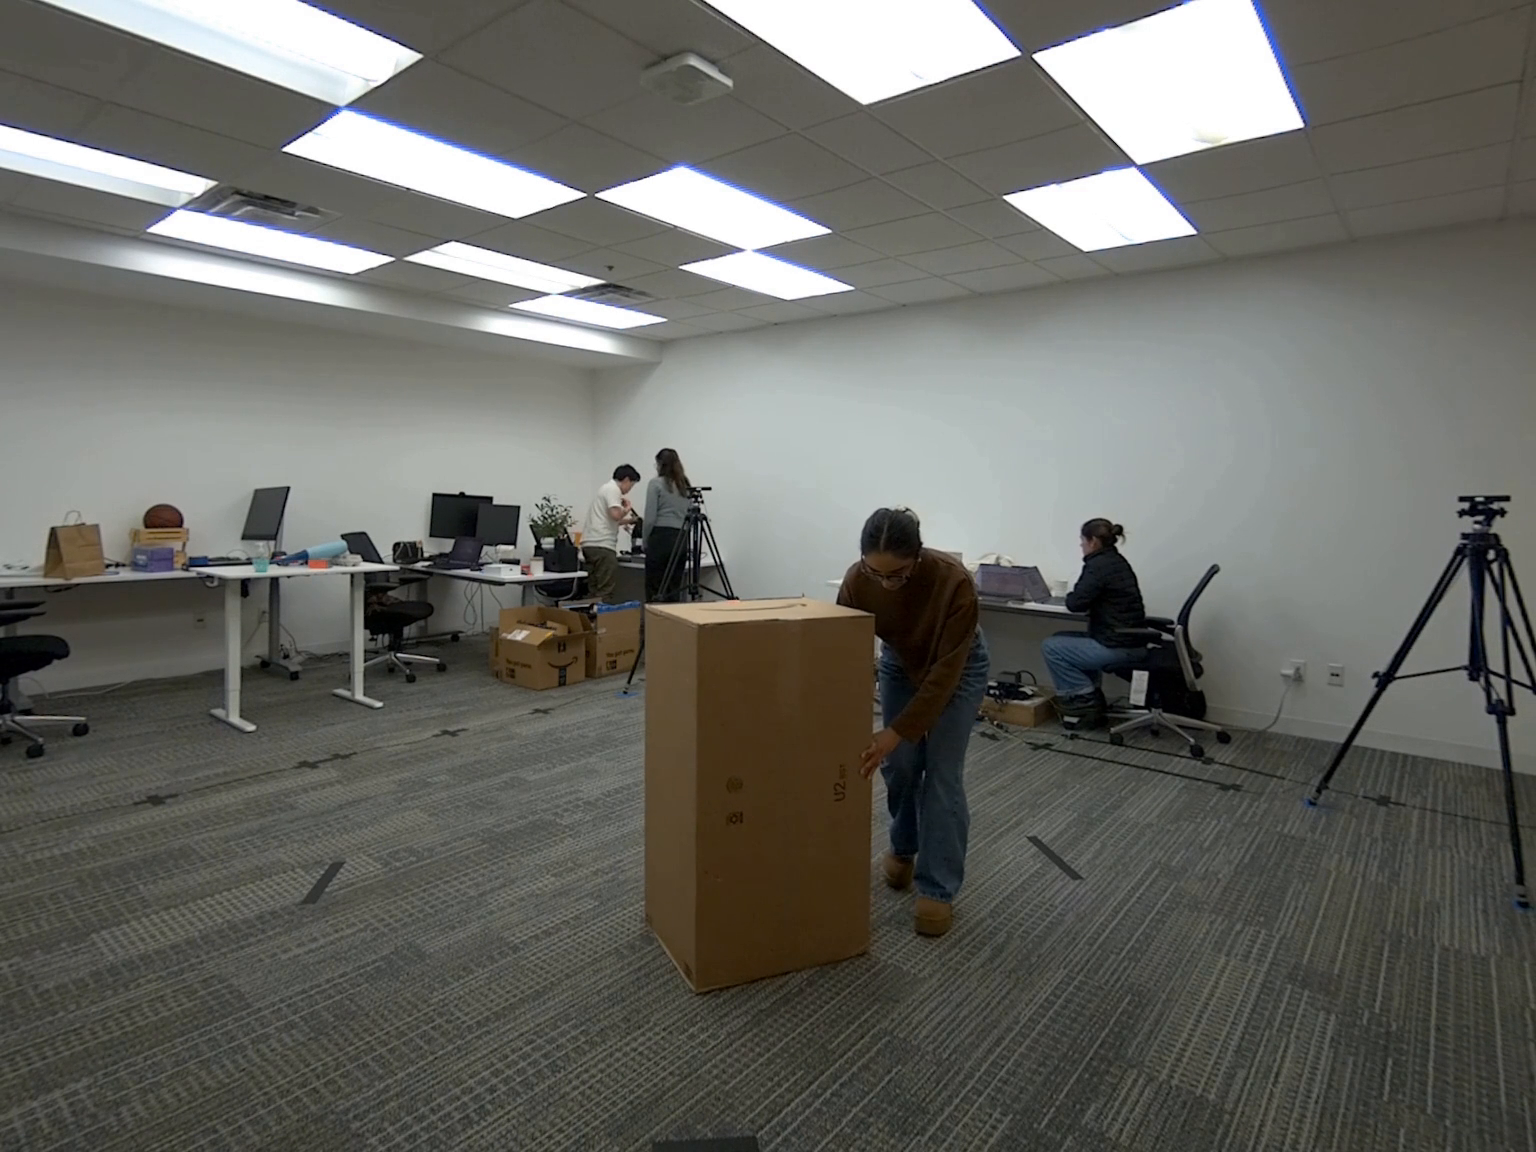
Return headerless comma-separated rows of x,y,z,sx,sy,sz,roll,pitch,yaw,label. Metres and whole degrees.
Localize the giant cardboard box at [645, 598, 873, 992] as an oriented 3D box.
-0.048,0.609,2.607,0.564,1.022,0.438,-2,4,-26,giant cardboard box
